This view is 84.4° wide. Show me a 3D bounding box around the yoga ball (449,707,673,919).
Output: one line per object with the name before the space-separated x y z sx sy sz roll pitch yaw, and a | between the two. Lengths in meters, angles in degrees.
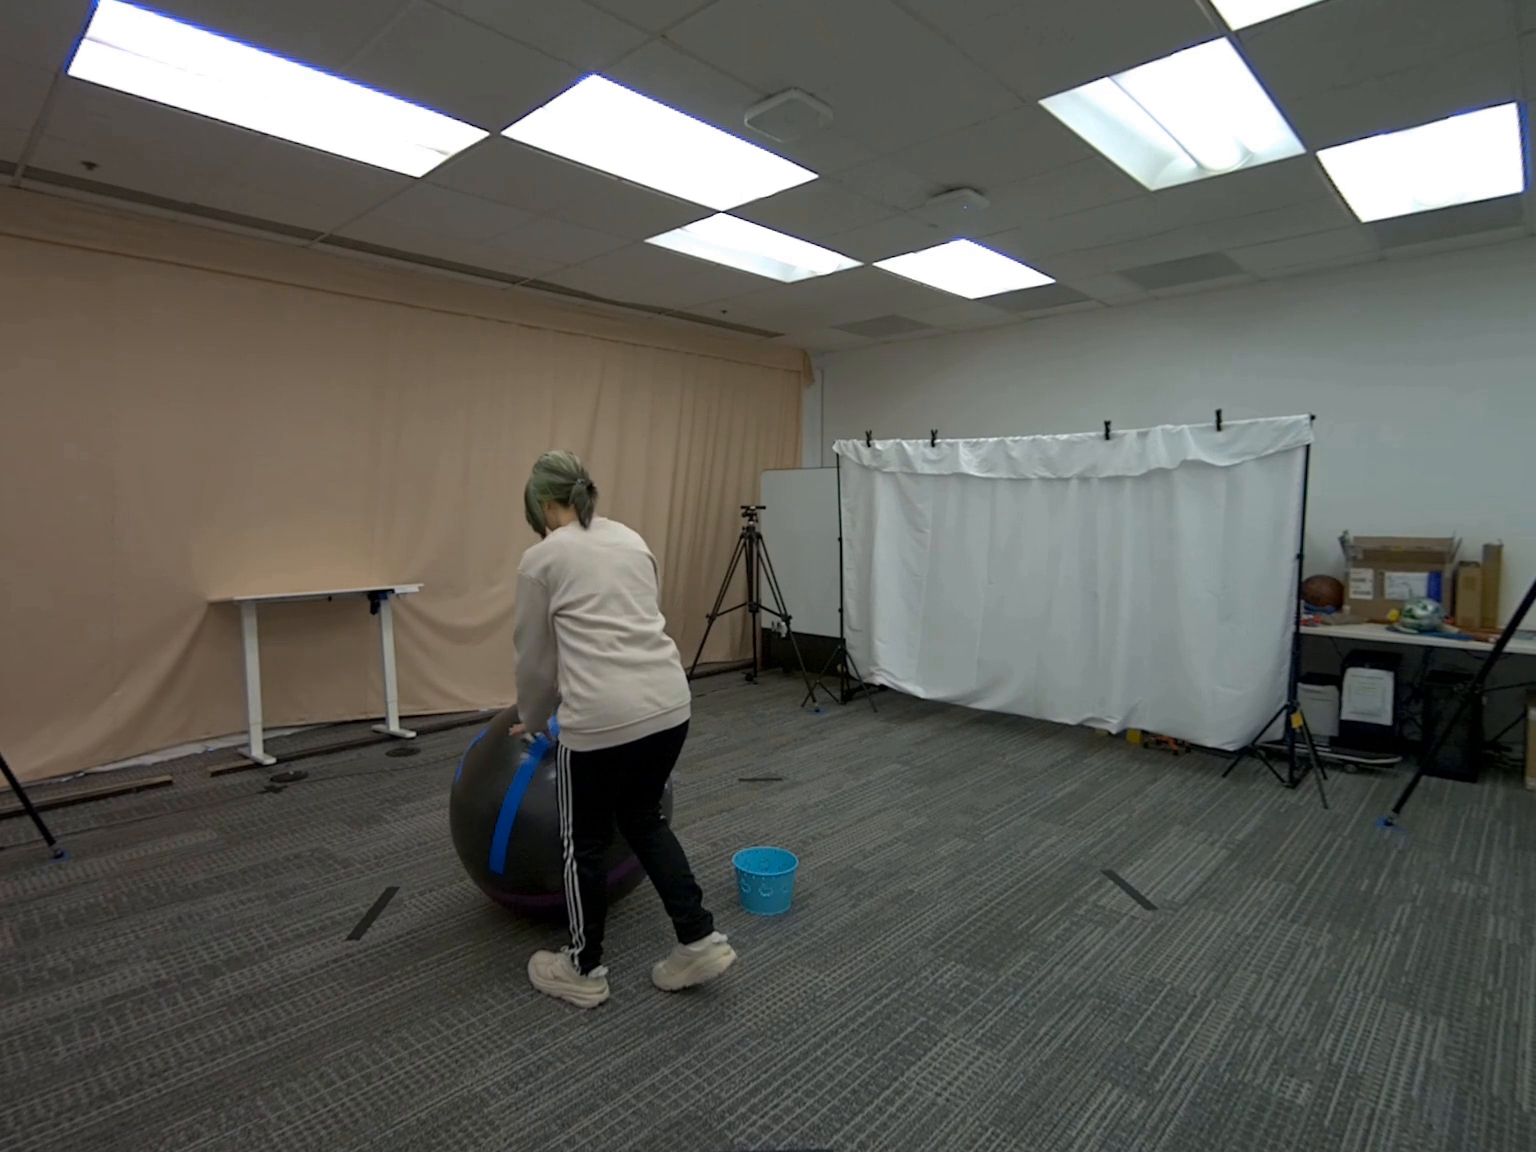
yoga ball | -0.706 0.785 2.913 0.757 0.756 0.760 0 4 -2
